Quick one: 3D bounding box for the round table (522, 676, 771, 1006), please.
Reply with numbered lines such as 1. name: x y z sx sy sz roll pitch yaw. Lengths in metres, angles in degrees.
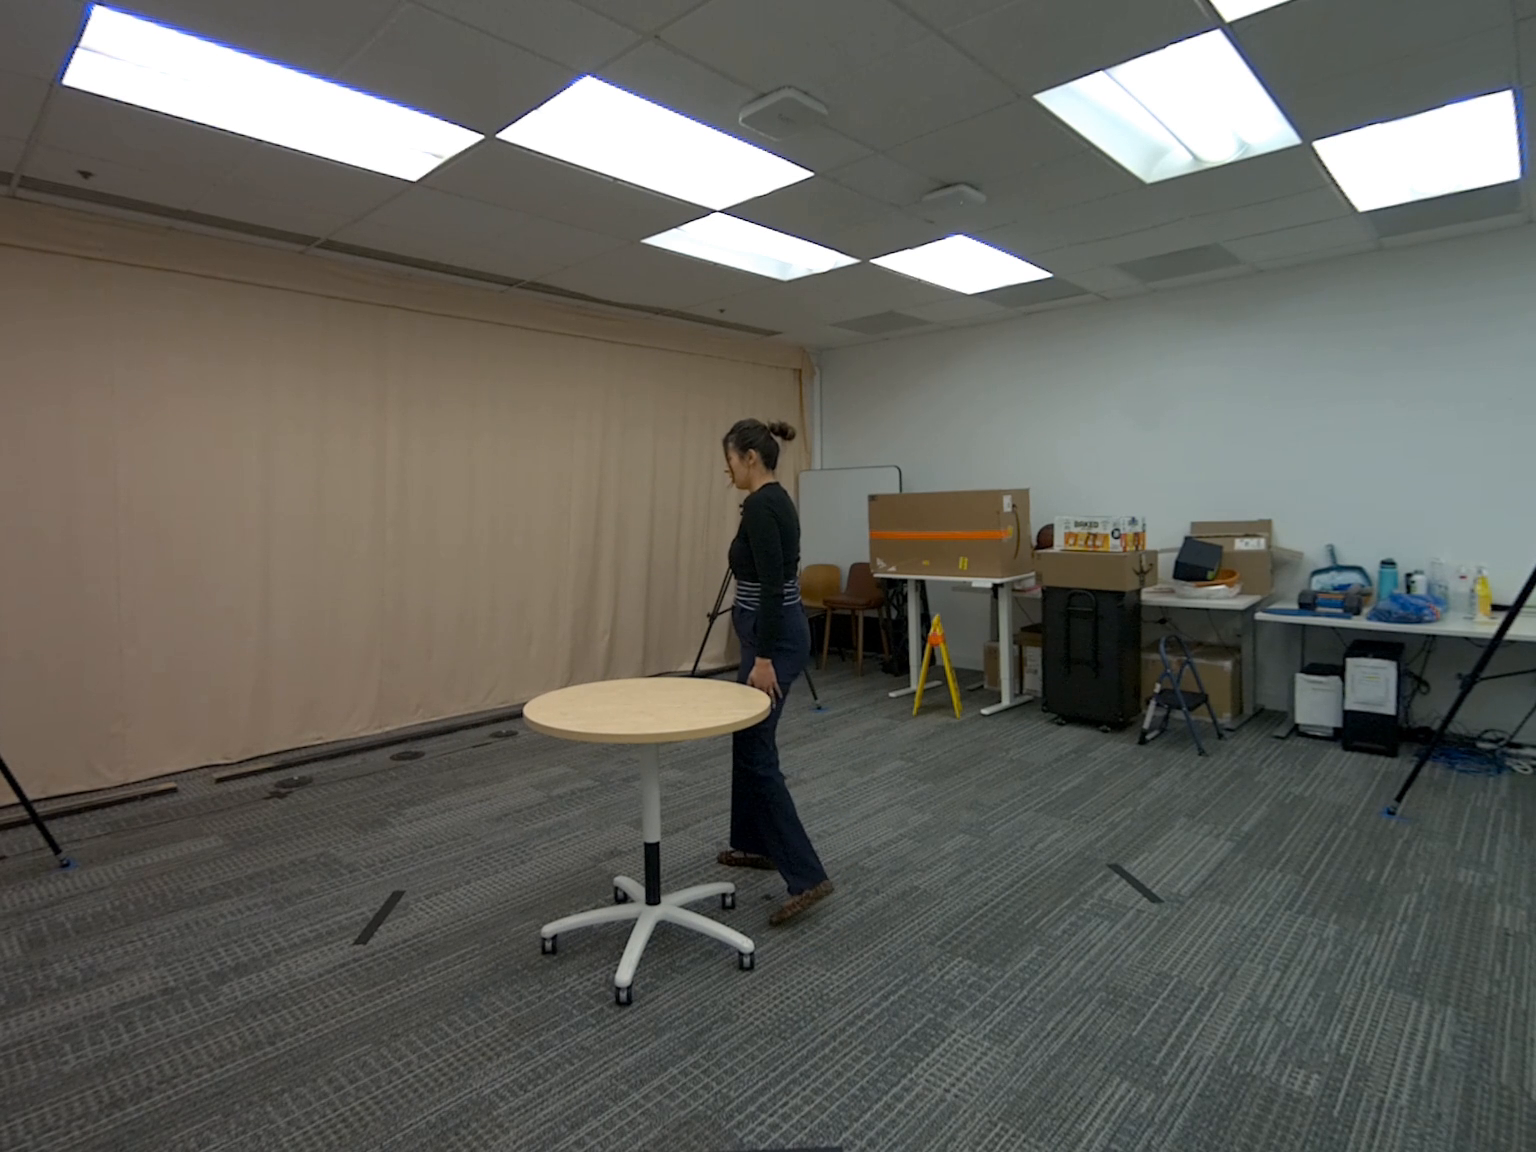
1. round table: -0.372 0.791 2.651 0.763 0.792 0.766 -1 4 -2
